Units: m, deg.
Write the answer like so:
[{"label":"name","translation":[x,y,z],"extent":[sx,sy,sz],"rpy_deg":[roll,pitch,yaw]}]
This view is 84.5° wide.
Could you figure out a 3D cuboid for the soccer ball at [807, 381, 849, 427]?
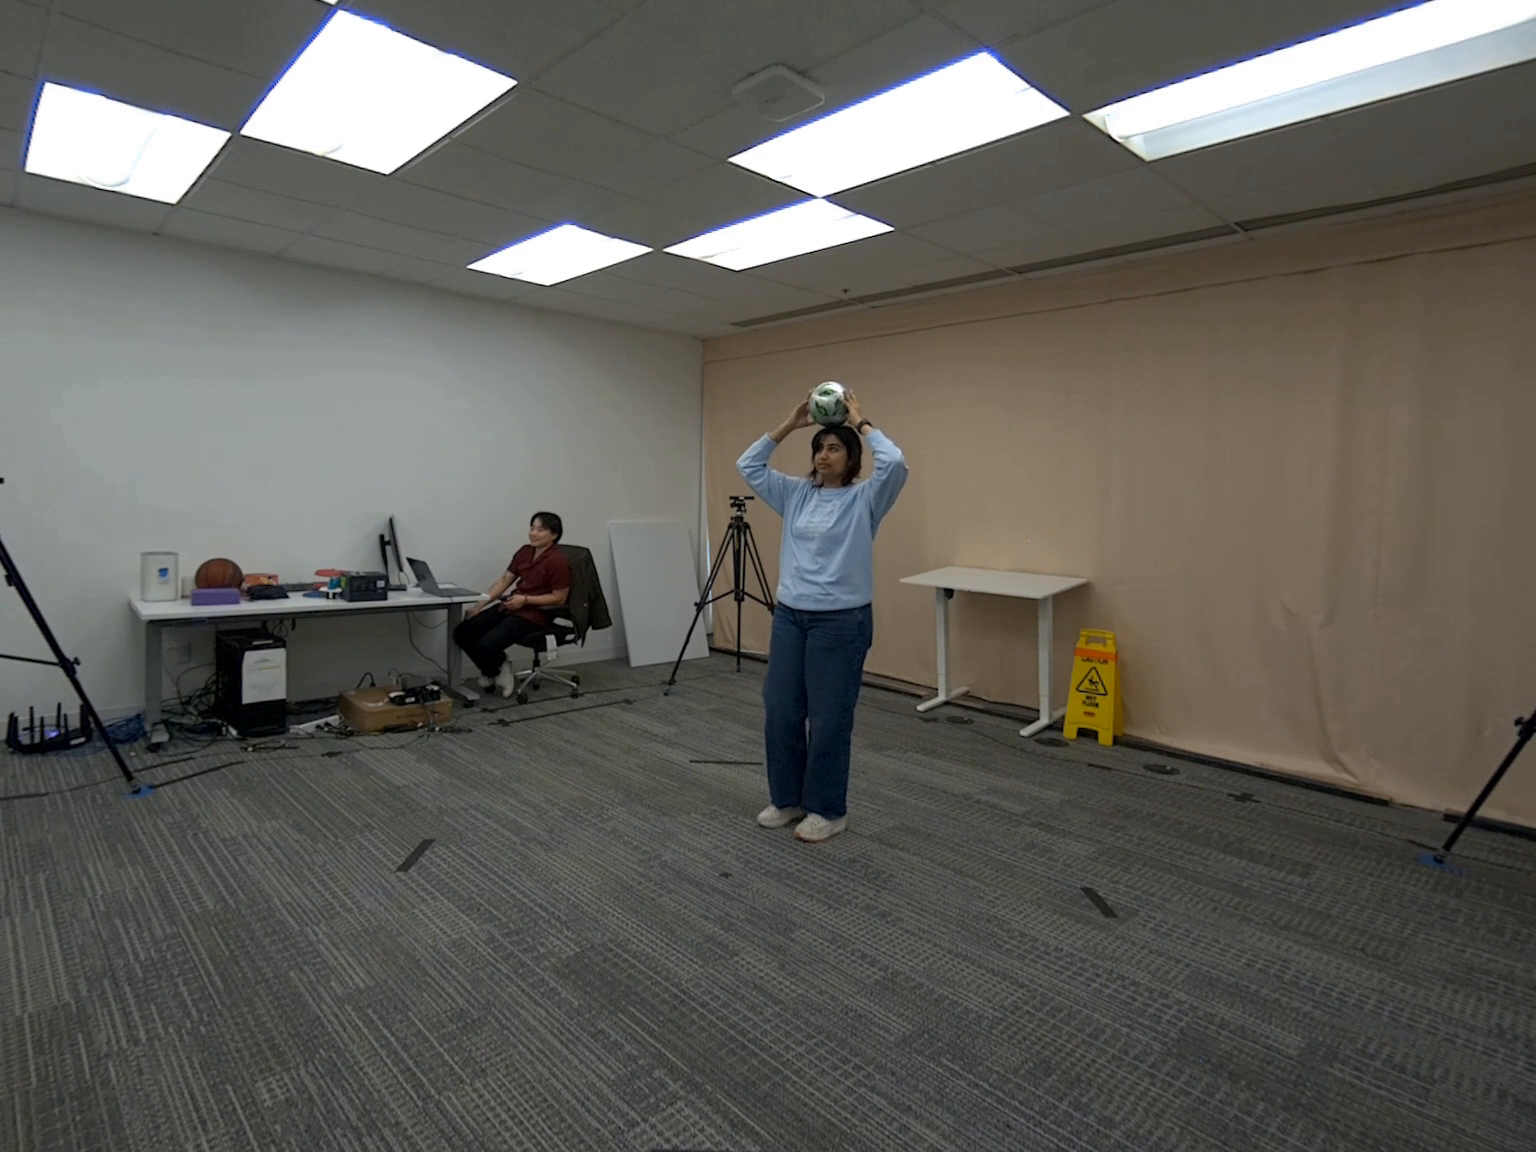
[{"label":"soccer ball","translation":[0.247,-0.699,3.440],"extent":[0.187,0.187,0.188],"rpy_deg":[1,4,-1]}]
